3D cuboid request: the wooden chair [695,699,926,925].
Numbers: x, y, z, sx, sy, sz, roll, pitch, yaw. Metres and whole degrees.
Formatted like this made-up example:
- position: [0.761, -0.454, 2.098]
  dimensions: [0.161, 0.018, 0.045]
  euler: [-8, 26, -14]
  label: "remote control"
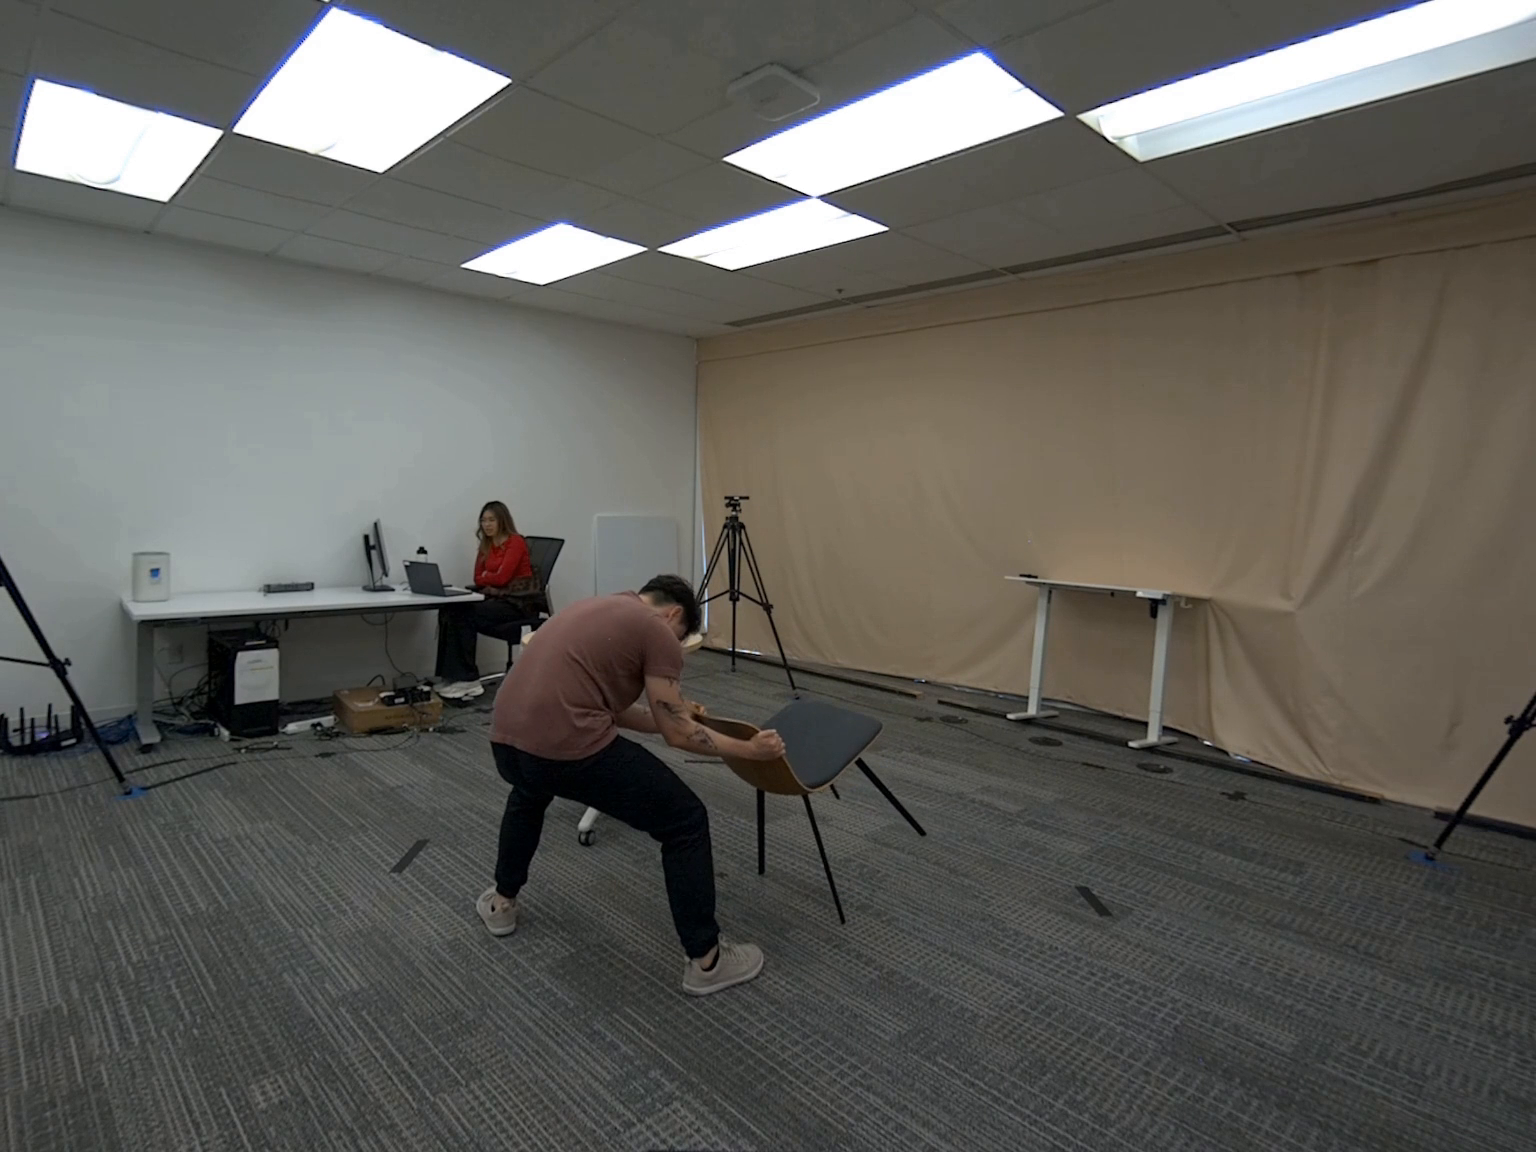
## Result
- position: [0.116, 0.637, 2.915]
  dimensions: [0.521, 0.859, 0.490]
  euler: [-39, 25, -28]
  label: "wooden chair"
